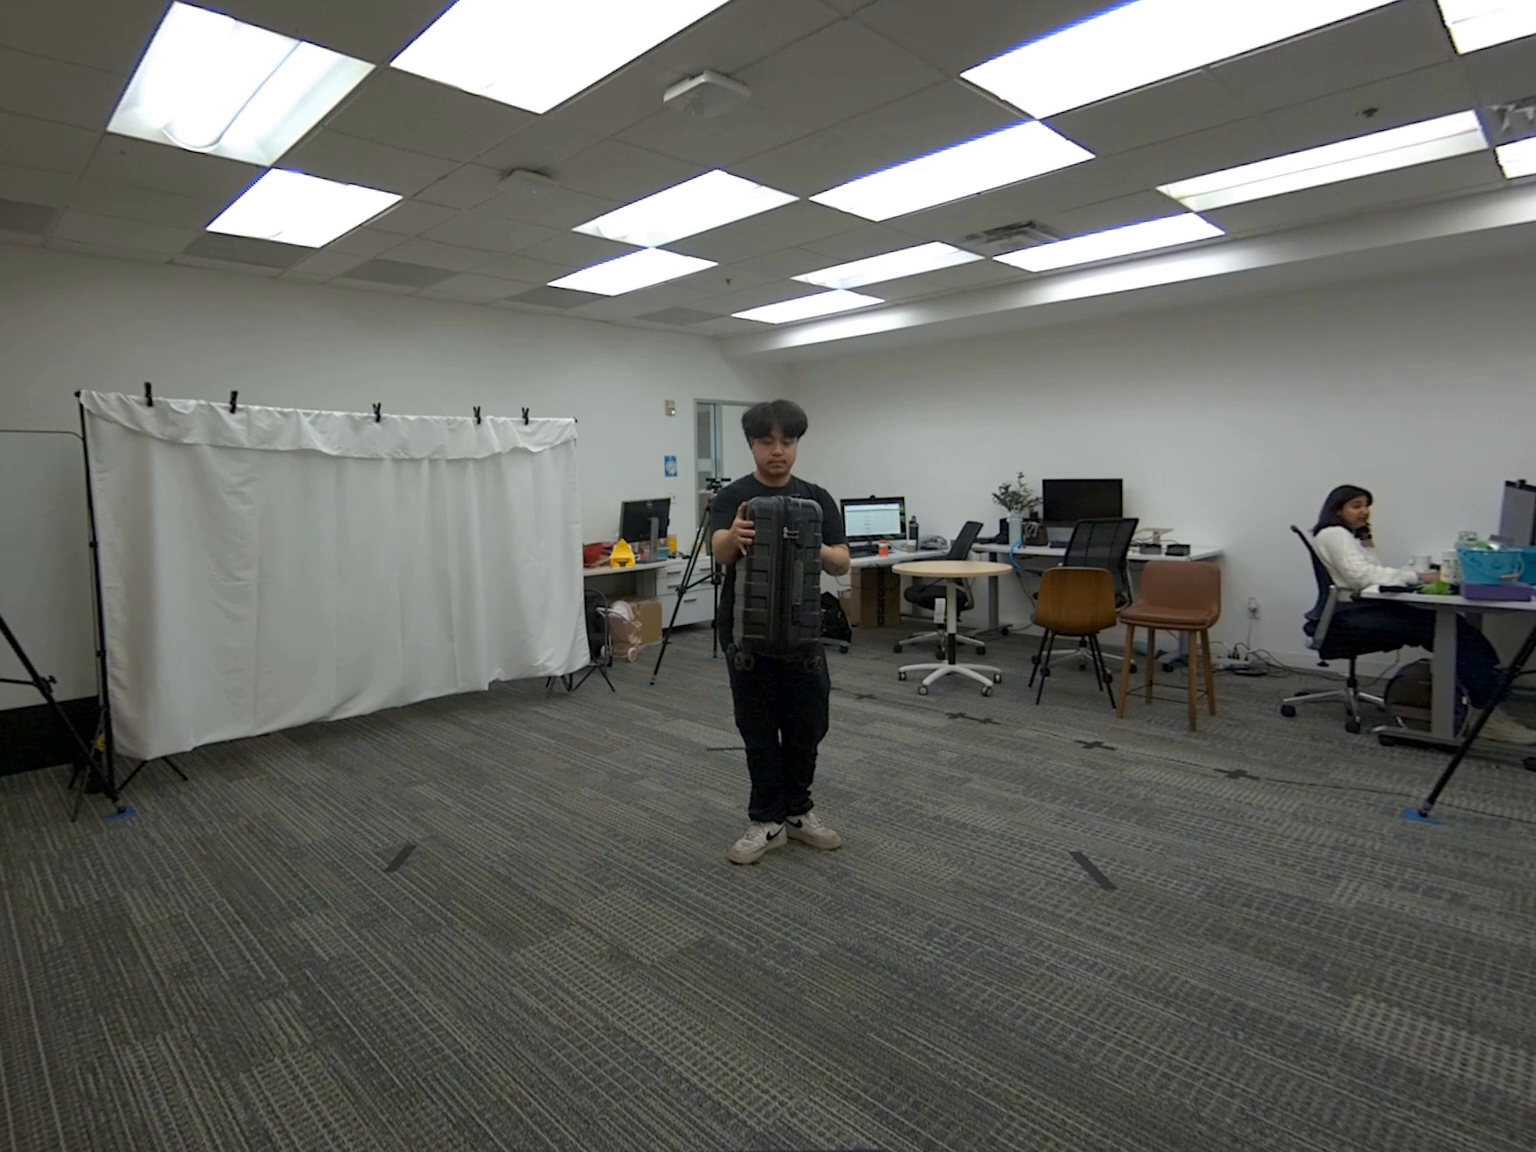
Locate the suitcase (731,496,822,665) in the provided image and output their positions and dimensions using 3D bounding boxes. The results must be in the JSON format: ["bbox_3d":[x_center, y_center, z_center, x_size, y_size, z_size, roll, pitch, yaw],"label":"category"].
[{"bbox_3d":[0.036,0.012,2.755,0.247,0.550,0.376,2,-1,-4],"label":"suitcase"}]
